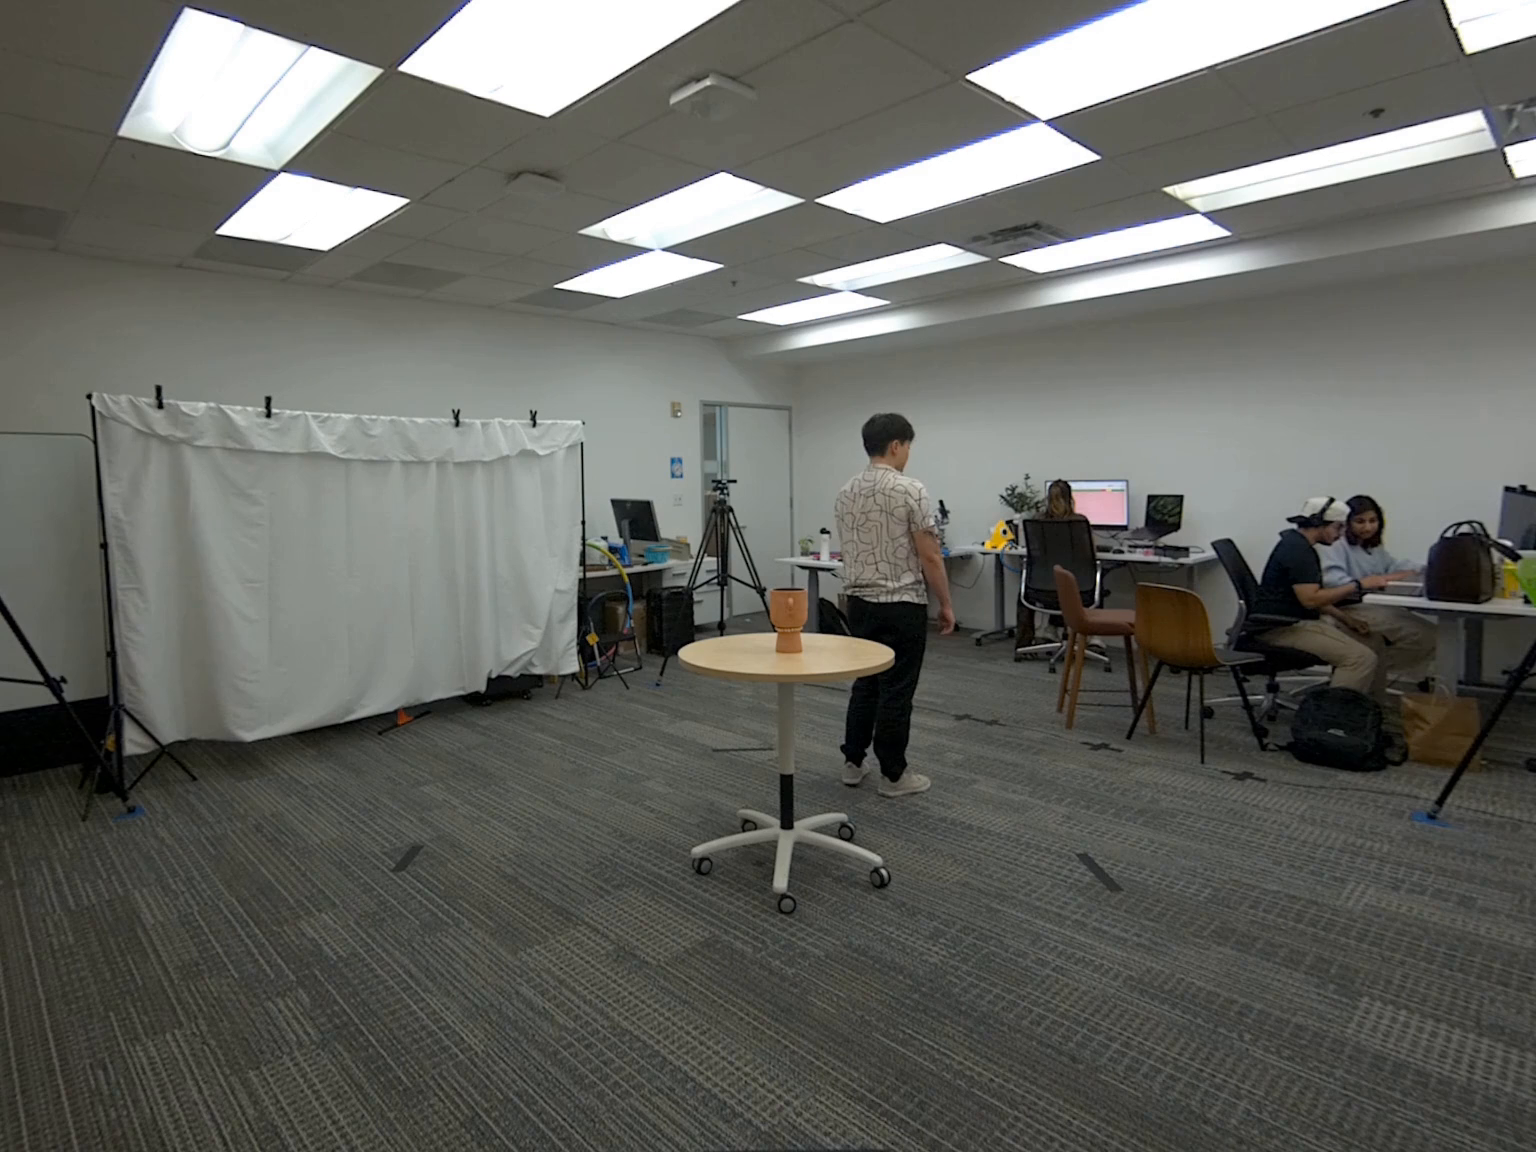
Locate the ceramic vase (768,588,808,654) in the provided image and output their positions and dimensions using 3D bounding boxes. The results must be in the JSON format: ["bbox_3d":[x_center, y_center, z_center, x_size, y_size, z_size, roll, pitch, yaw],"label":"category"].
[{"bbox_3d":[0.076,0.159,3.047,0.138,0.219,0.155,2,5,37],"label":"ceramic vase"}]
